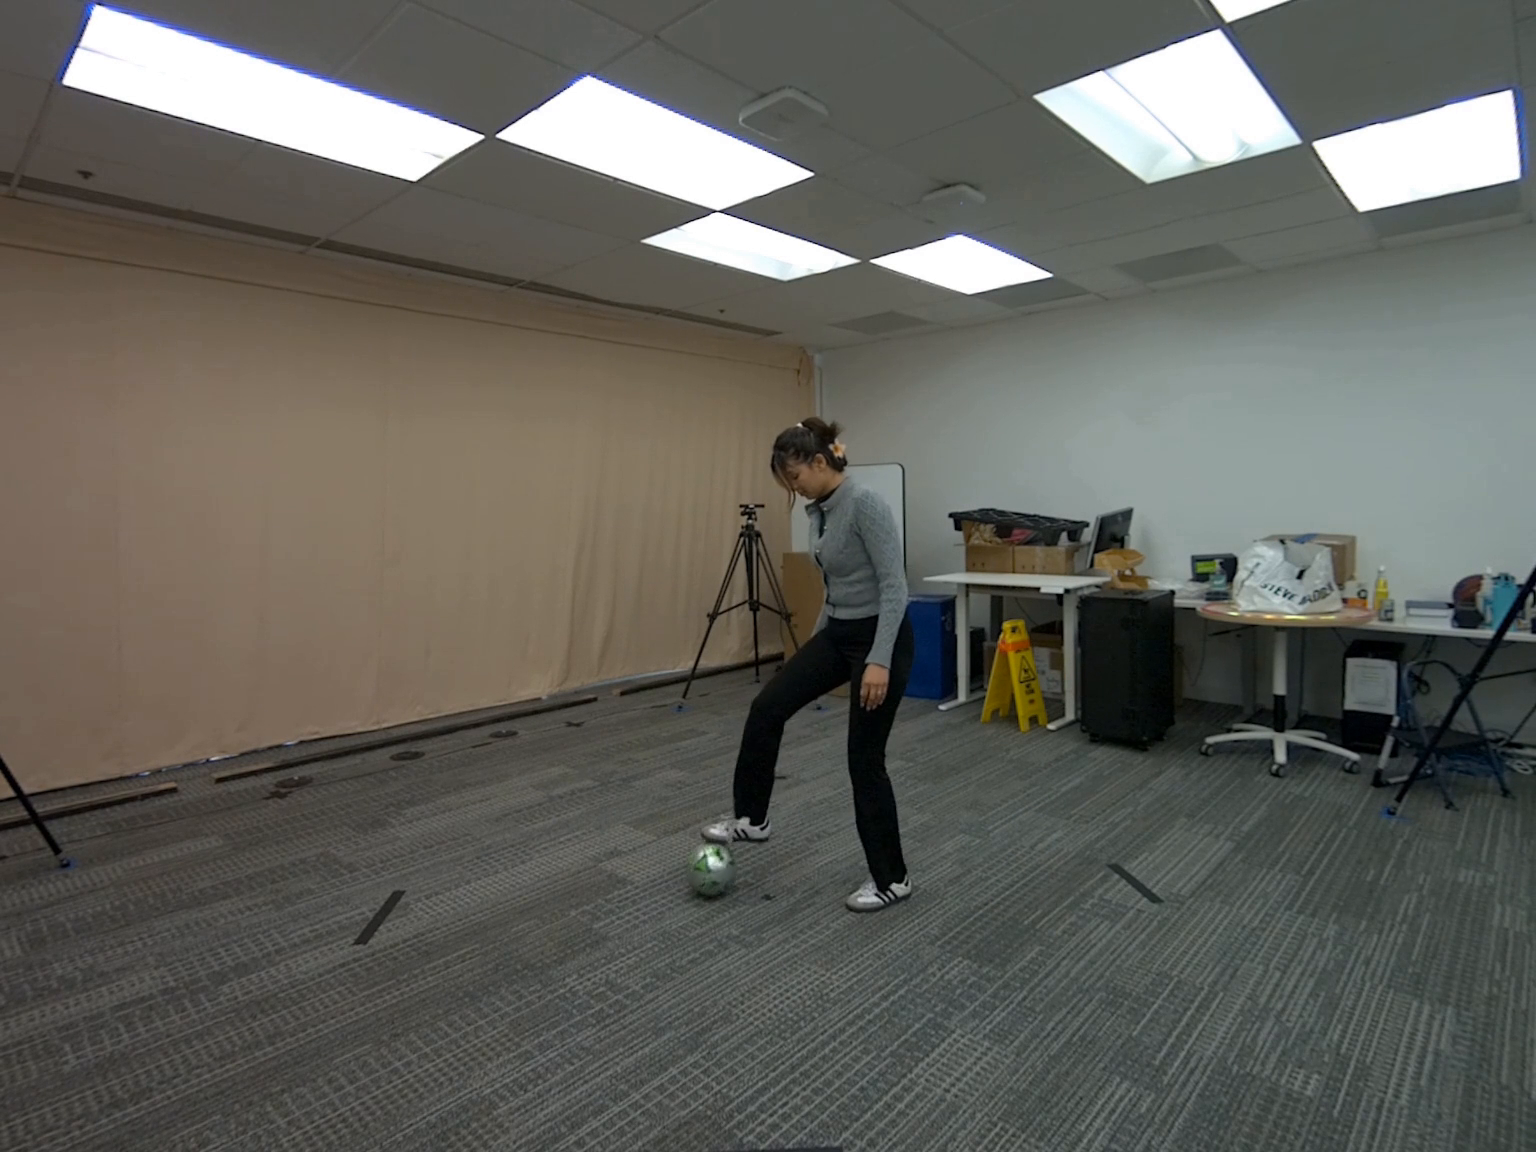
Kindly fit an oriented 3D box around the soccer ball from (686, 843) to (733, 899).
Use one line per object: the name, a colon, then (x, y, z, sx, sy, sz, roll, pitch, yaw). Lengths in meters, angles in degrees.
soccer ball: (-0.185, 1.049, 3.011, 0.187, 0.187, 0.188, -1, 4, -2)
